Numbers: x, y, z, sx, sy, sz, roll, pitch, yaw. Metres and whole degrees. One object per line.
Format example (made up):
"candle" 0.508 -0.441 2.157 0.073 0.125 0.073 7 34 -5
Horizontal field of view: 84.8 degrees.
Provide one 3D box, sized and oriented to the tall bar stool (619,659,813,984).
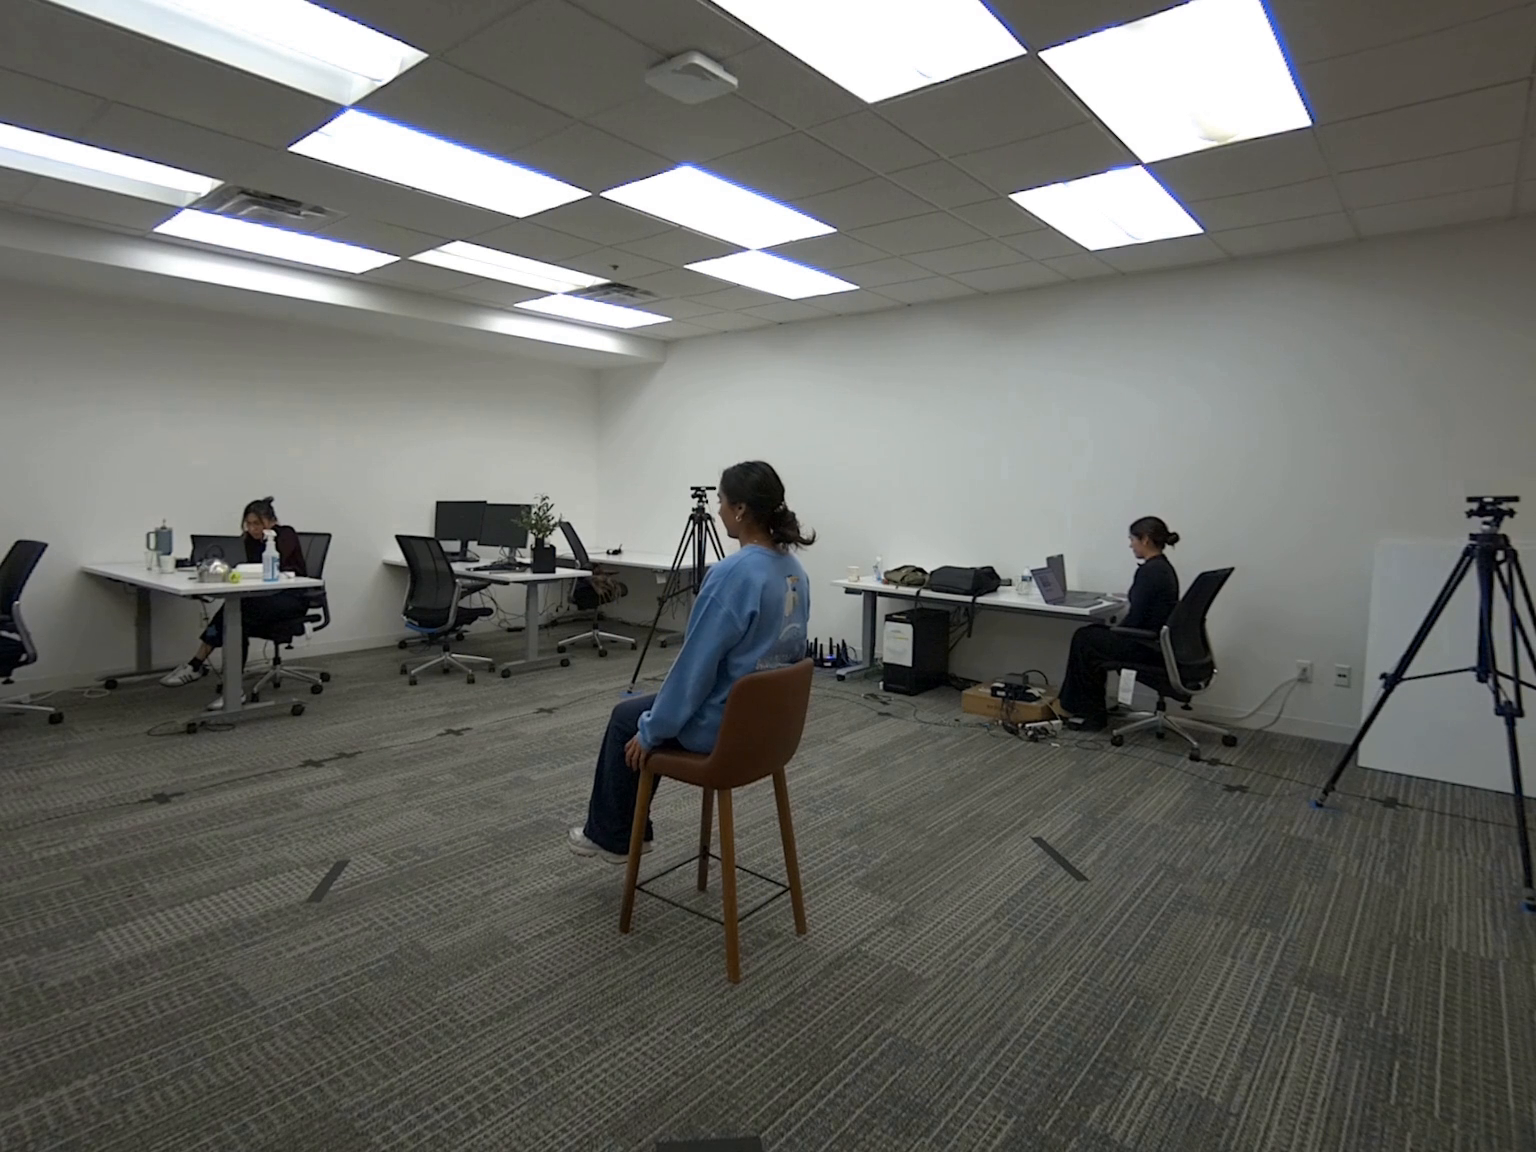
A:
"tall bar stool" -0.157 0.679 2.629 0.483 0.886 0.443 6 6 37
